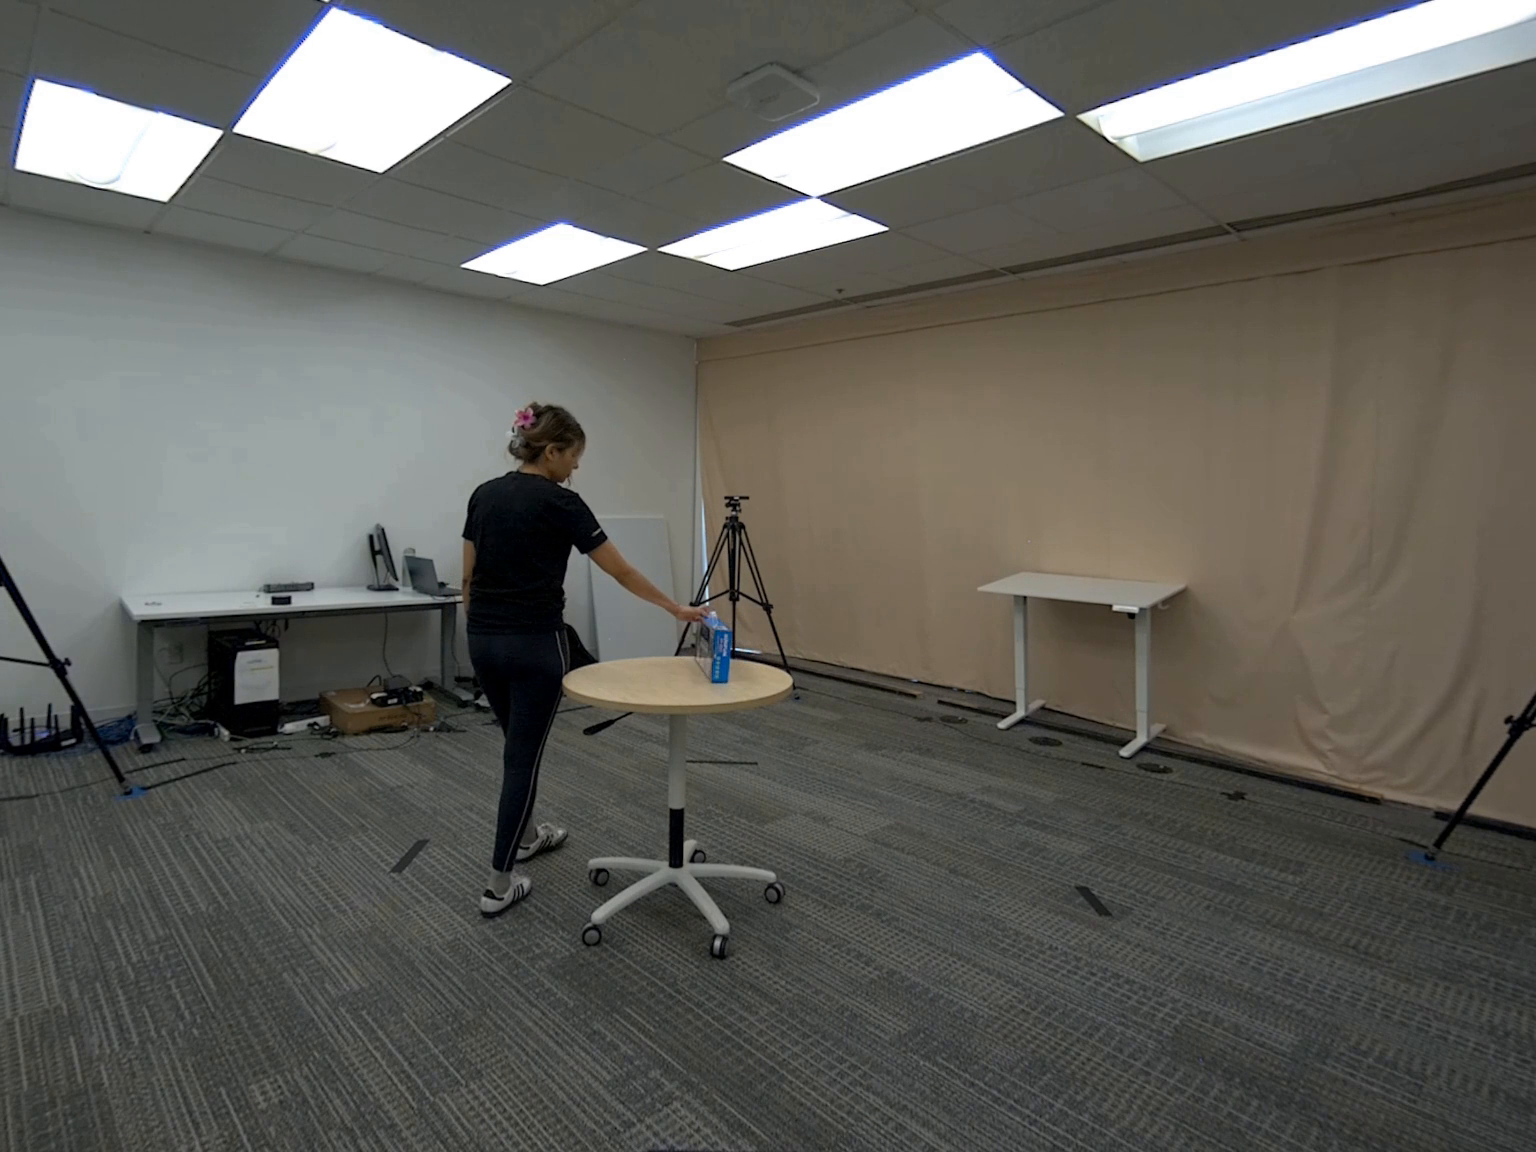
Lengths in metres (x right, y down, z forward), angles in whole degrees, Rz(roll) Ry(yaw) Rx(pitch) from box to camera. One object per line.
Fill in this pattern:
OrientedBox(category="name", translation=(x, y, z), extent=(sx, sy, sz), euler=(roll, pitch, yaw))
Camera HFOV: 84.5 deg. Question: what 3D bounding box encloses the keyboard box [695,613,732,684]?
OrientedBox(category="keyboard box", translation=(-0.203, 0.244, 2.945), extent=(0.058, 0.175, 0.441), euler=(2, 4, -11))
